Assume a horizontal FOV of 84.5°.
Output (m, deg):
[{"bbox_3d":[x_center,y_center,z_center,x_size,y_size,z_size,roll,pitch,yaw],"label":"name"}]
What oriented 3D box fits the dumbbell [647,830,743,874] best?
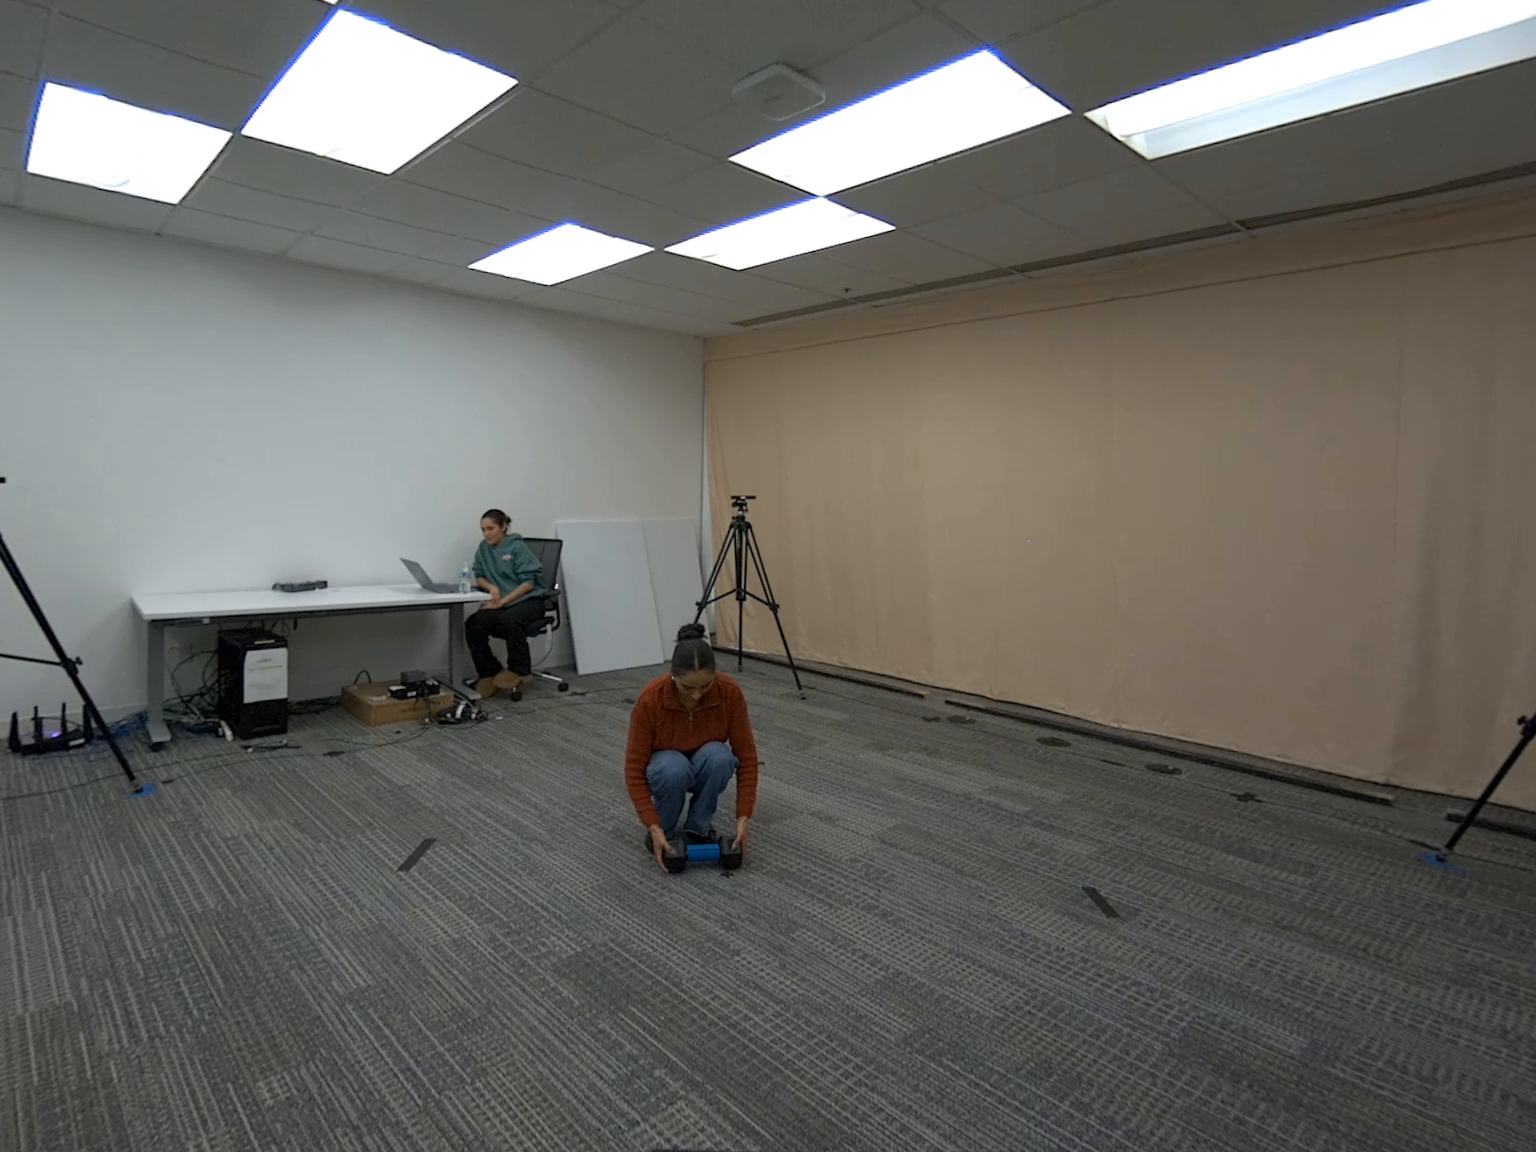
[{"bbox_3d":[-0.267,1.039,3.148,0.291,0.126,0.107,1,-40,-10],"label":"dumbbell"}]
